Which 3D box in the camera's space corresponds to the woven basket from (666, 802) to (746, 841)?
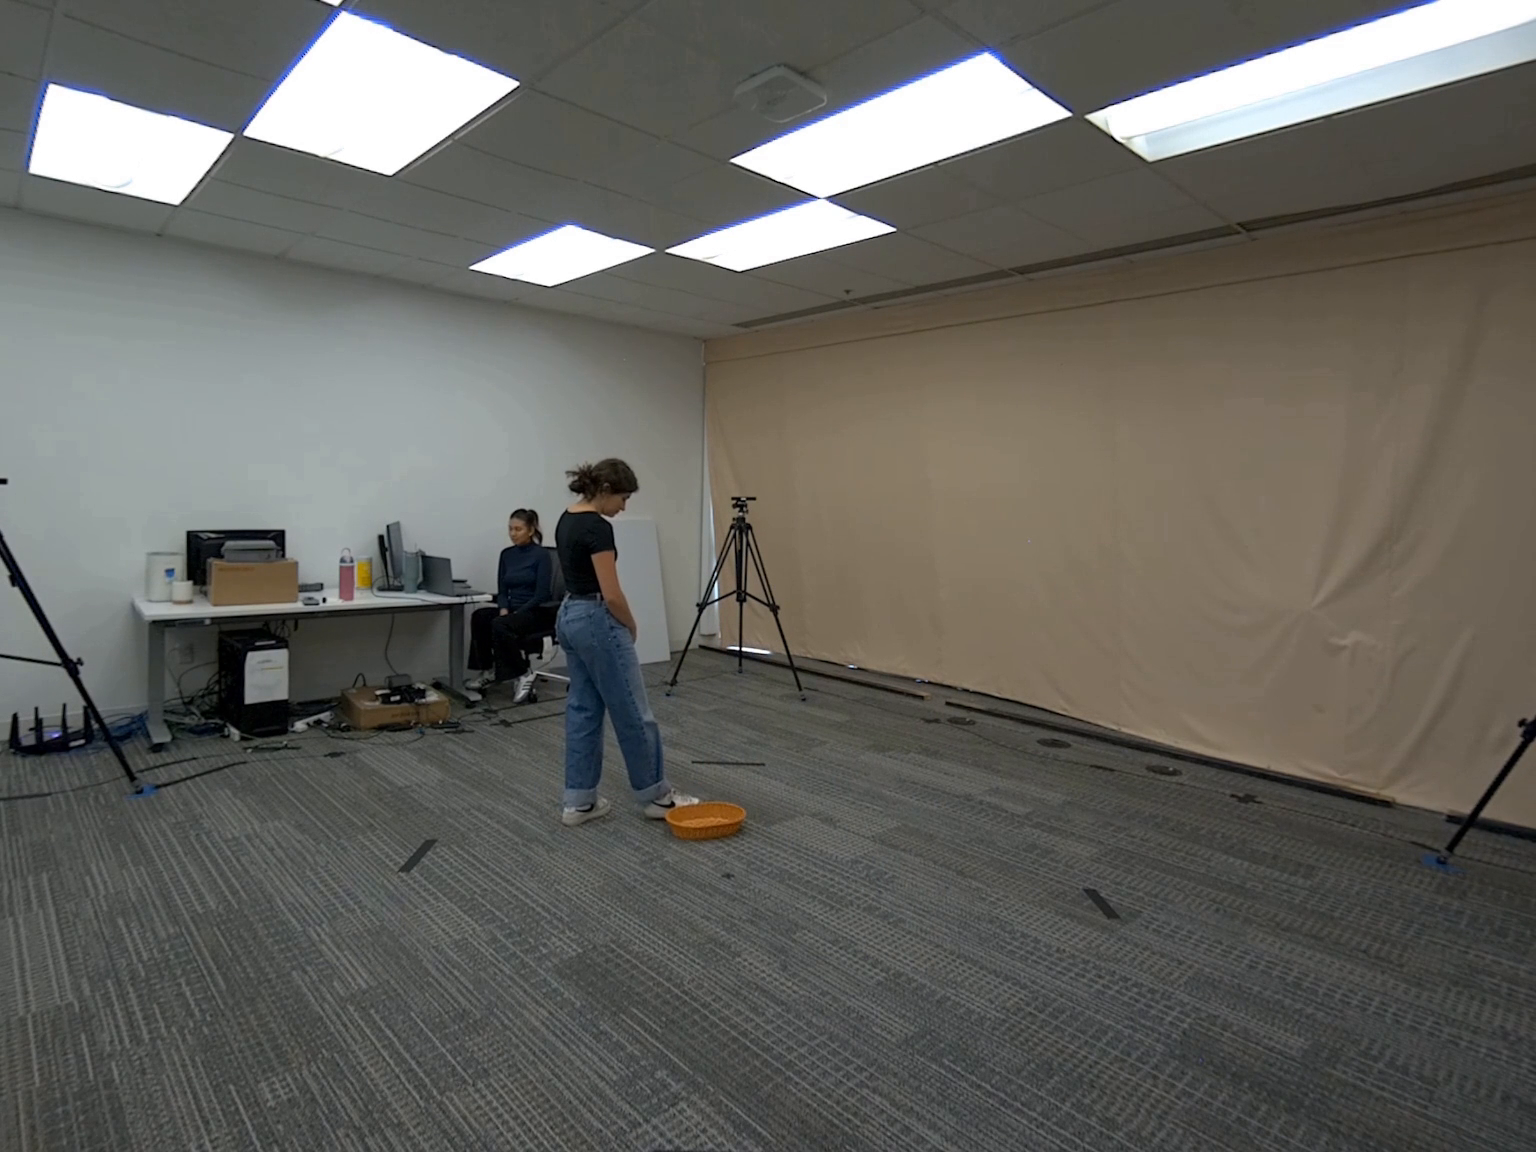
[{"bbox_3d":[-0.270,1.024,3.525,0.344,0.073,0.257,-1,6,-24],"label":"woven basket"}]
